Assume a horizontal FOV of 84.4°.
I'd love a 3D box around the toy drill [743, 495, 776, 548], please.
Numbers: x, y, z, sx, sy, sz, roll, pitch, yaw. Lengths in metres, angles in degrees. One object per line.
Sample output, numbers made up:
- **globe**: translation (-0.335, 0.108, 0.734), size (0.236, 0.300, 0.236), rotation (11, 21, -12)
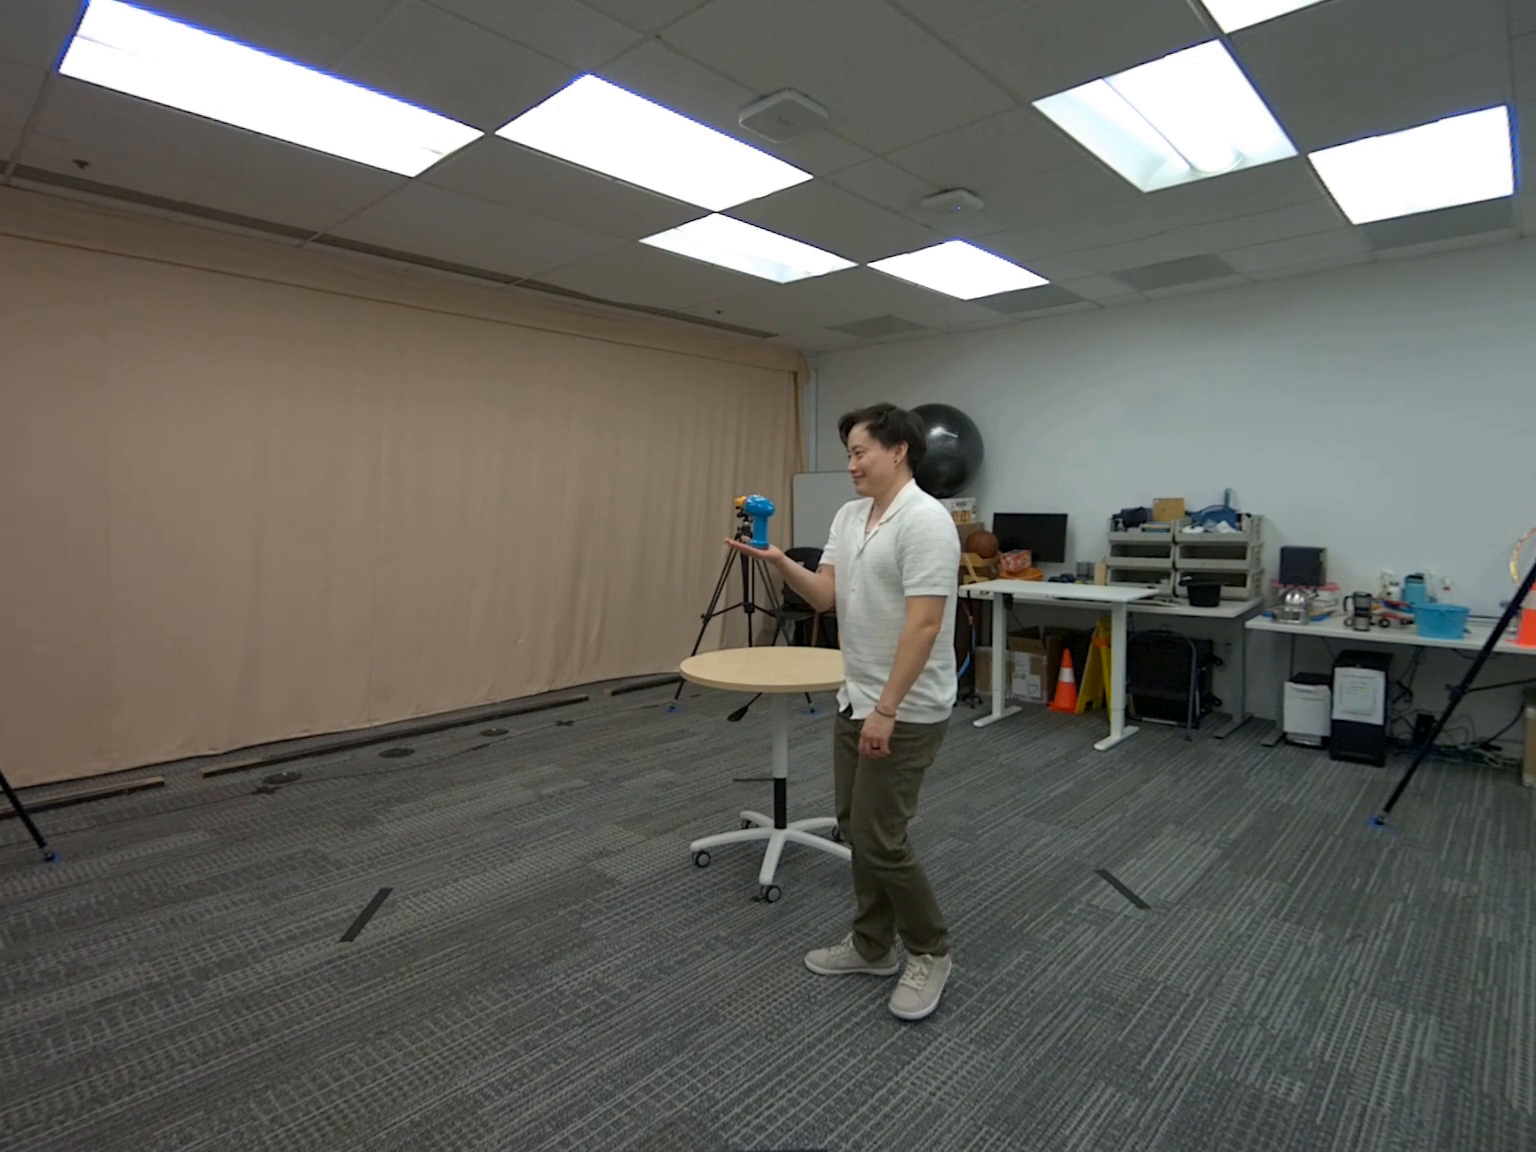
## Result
- **toy drill**: translation (-0.031, -0.159, 2.372), size (0.059, 0.145, 0.176), rotation (1, 14, -40)
